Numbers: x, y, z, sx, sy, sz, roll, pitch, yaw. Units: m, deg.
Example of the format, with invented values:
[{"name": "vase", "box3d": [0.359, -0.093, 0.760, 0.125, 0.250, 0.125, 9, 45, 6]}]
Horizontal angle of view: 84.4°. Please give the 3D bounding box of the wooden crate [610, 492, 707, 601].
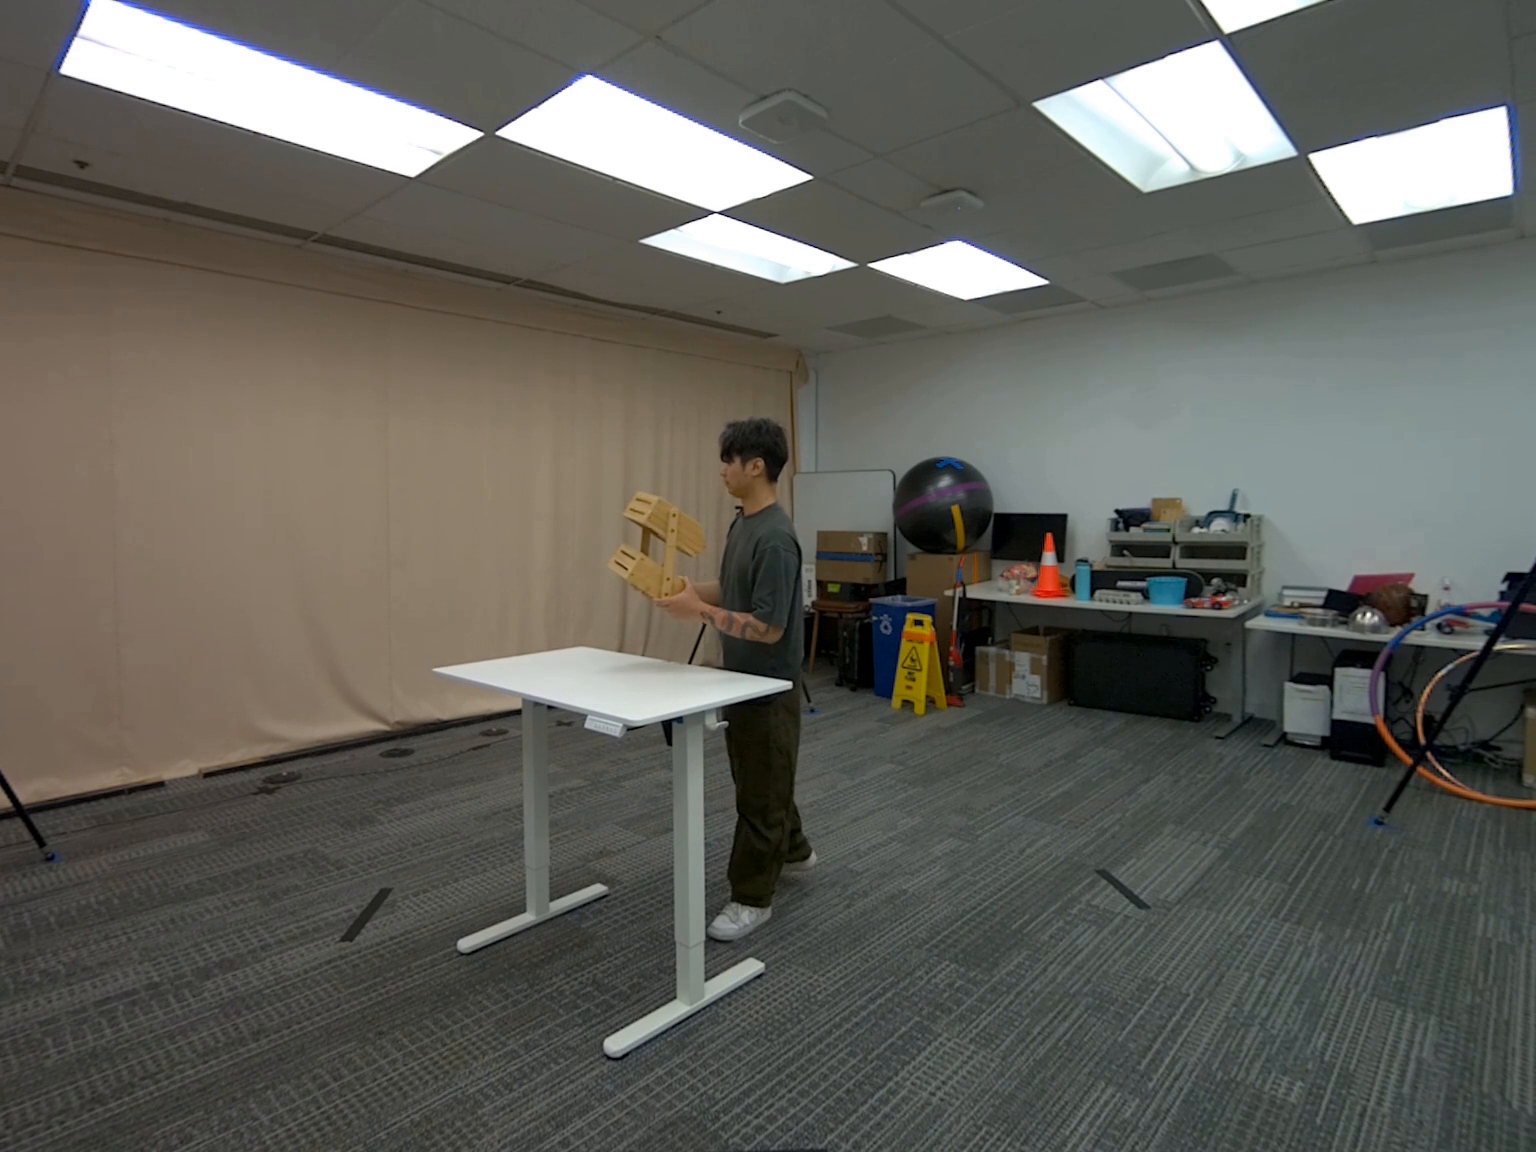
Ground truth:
[{"name": "wooden crate", "box3d": [-0.323, -0.070, 2.670, 0.294, 0.273, 0.333, 34, -5, -22]}]
